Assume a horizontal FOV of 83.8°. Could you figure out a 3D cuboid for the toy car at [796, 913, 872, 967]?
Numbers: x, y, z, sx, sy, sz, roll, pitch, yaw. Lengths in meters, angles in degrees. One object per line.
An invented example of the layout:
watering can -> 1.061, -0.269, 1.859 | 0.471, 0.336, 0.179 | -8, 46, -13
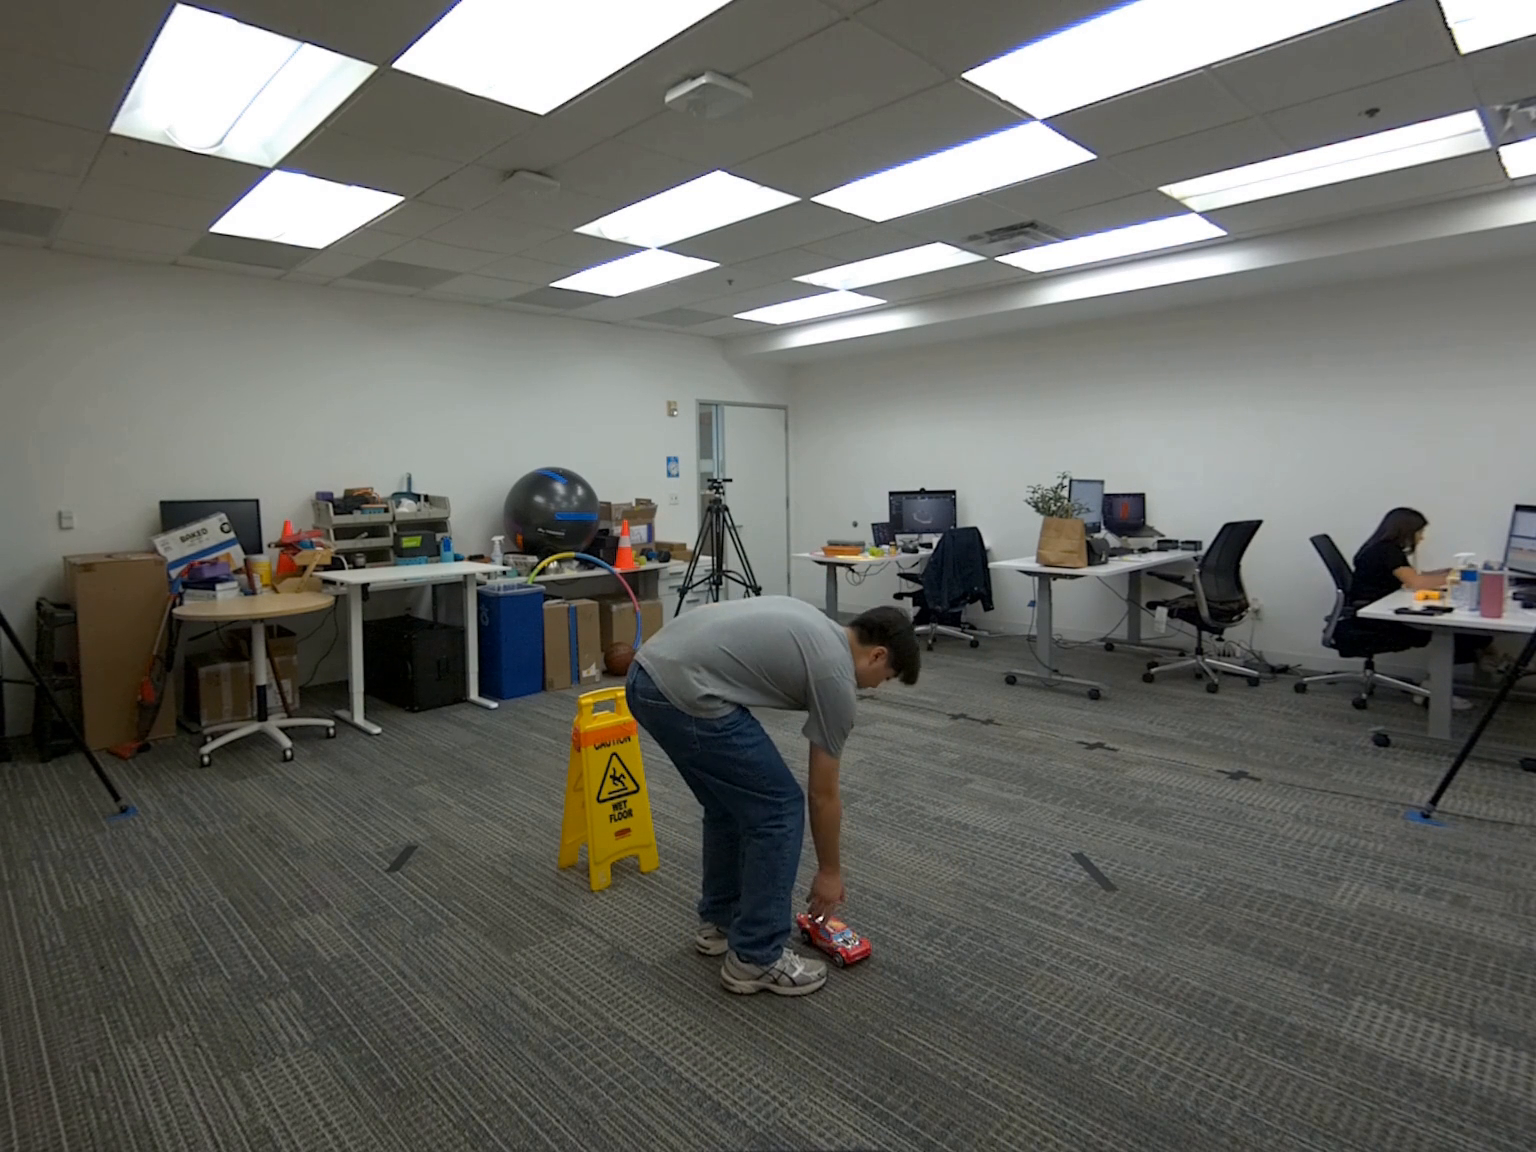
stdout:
toy car -> 0.192, 1.072, 2.540 | 0.127, 0.082, 0.264 | -6, 19, -35
